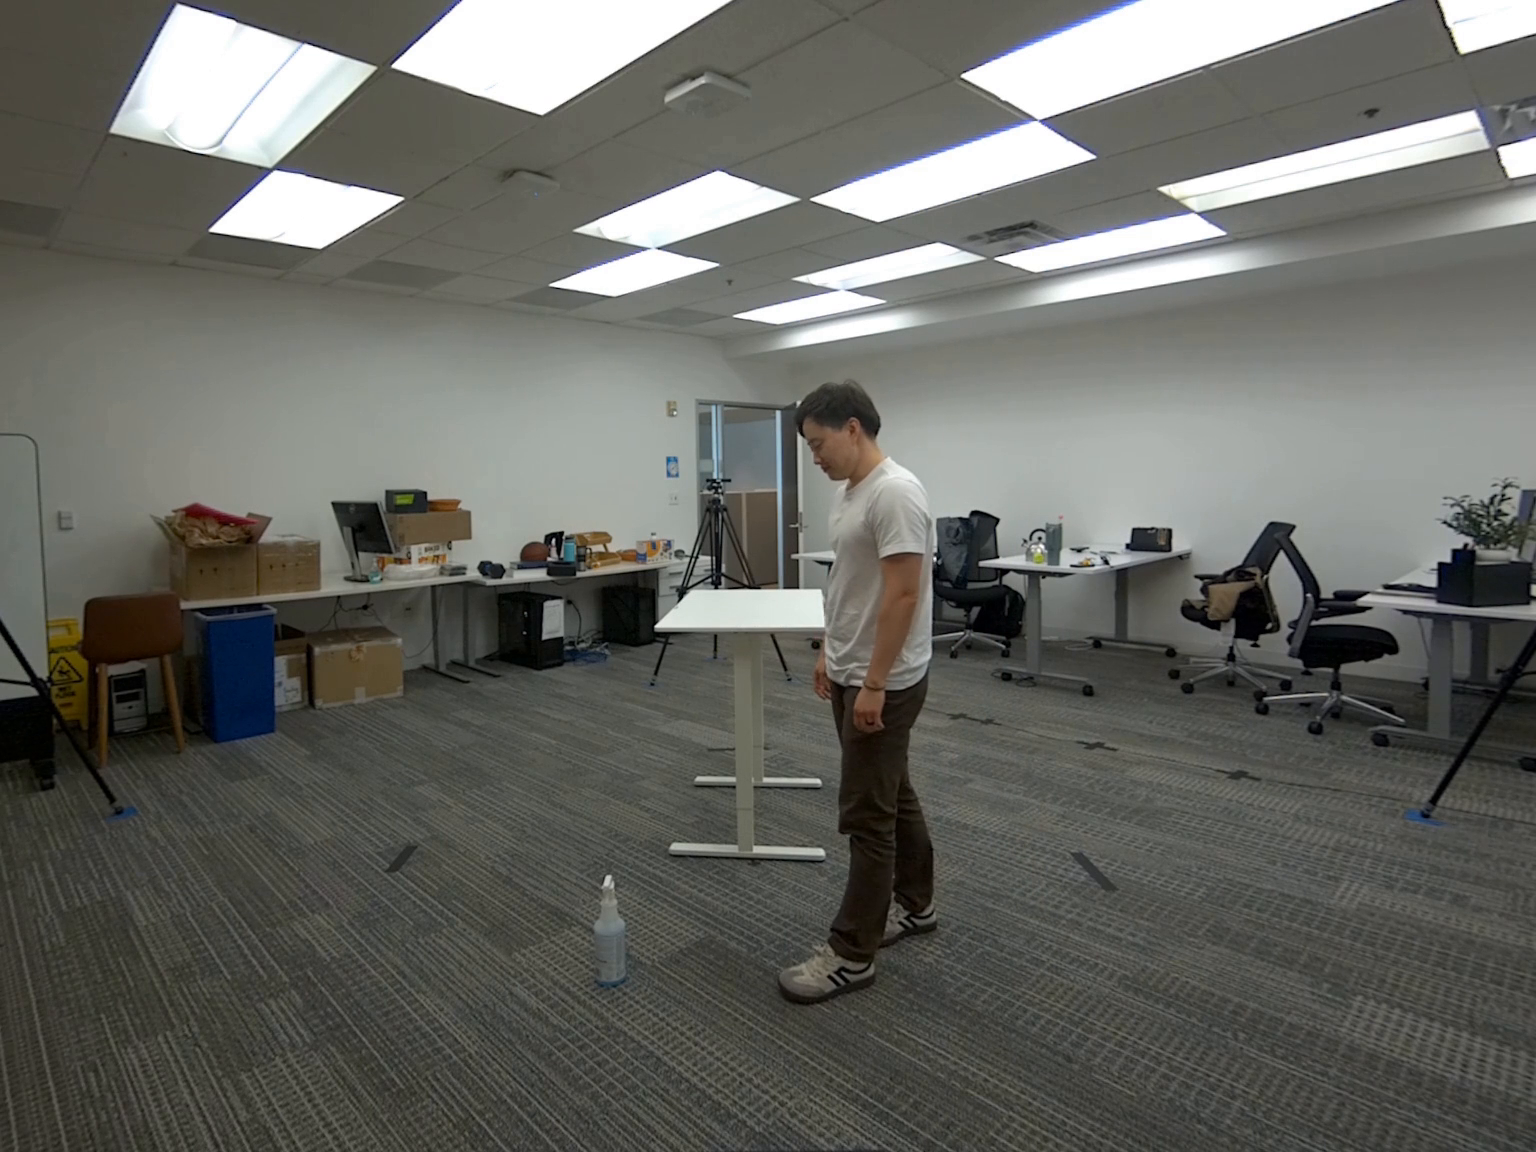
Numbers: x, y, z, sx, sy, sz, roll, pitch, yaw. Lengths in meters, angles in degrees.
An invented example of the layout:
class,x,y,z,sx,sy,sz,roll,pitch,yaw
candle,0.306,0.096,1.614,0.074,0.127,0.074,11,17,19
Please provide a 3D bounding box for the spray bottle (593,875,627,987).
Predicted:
class,x,y,z,sx,sy,sz,roll,pitch,yaw
spray bottle,-0.452,1.001,2.399,0.089,0.296,0.088,-3,4,24
